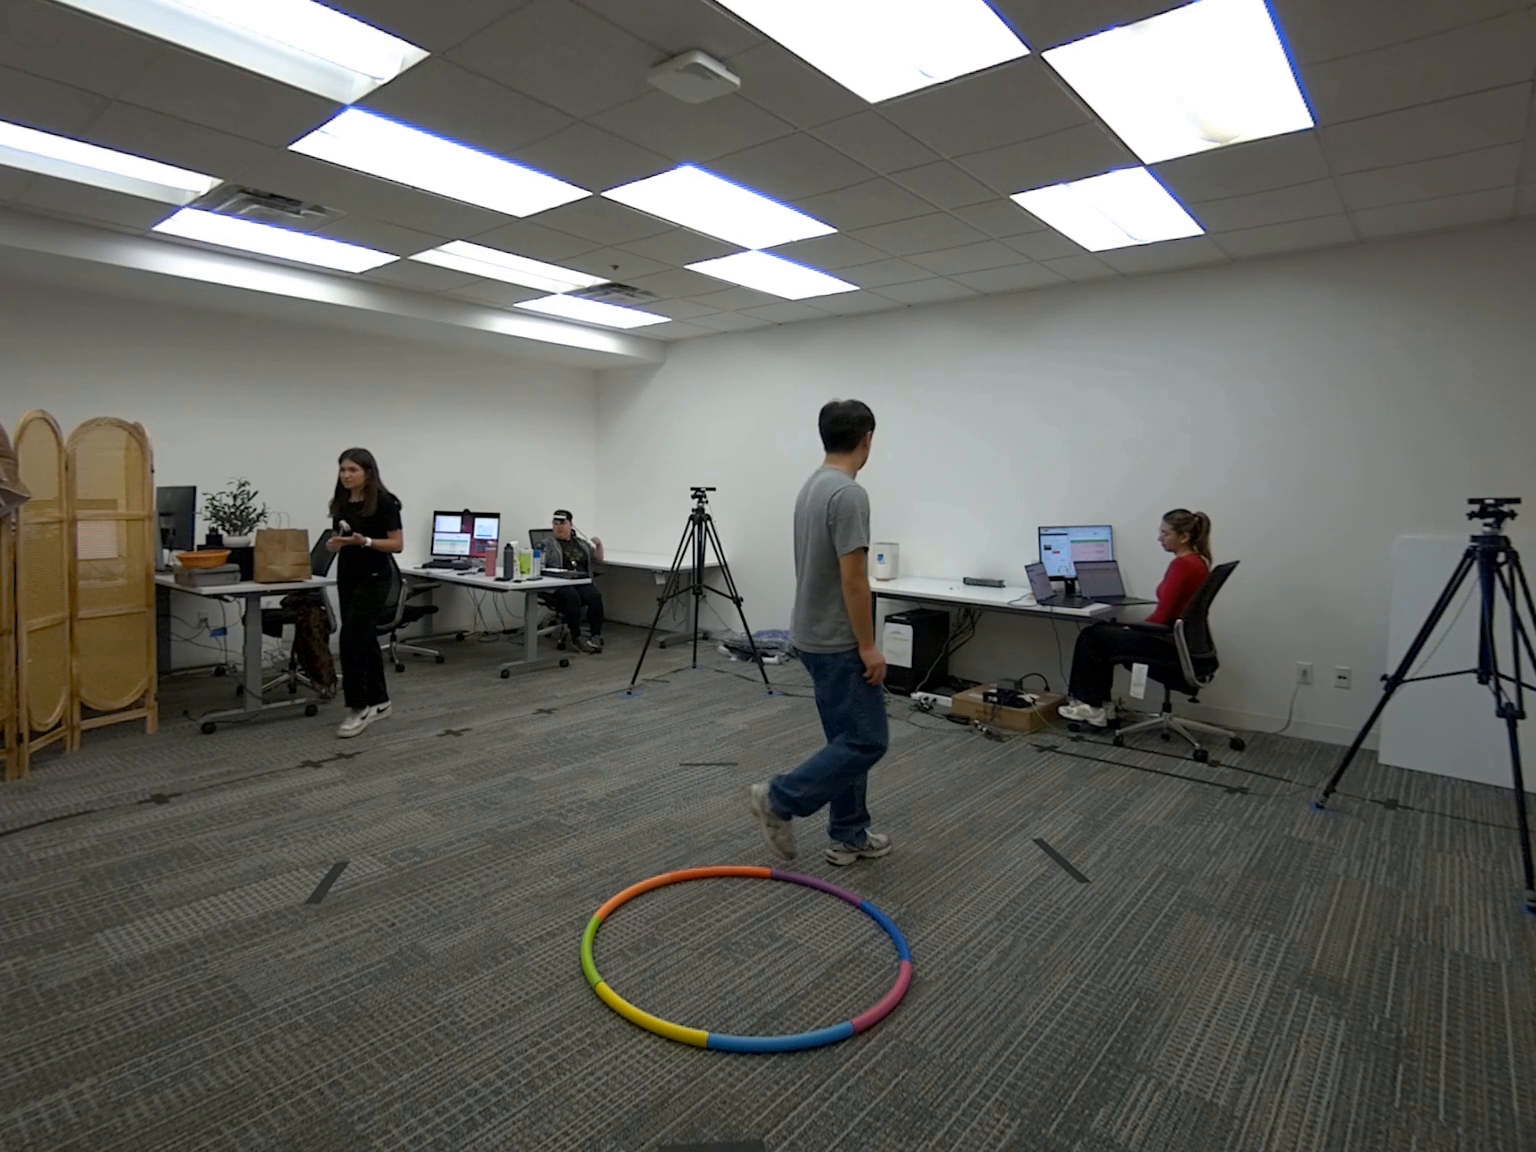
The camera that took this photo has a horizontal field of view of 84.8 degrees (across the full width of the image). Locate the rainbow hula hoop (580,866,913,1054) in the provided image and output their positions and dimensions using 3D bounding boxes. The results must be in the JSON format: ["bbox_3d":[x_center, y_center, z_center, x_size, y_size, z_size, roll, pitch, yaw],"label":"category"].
[{"bbox_3d":[-0.077,1.089,2.578,0.978,0.035,0.984,1,6,-2],"label":"rainbow hula hoop"}]
